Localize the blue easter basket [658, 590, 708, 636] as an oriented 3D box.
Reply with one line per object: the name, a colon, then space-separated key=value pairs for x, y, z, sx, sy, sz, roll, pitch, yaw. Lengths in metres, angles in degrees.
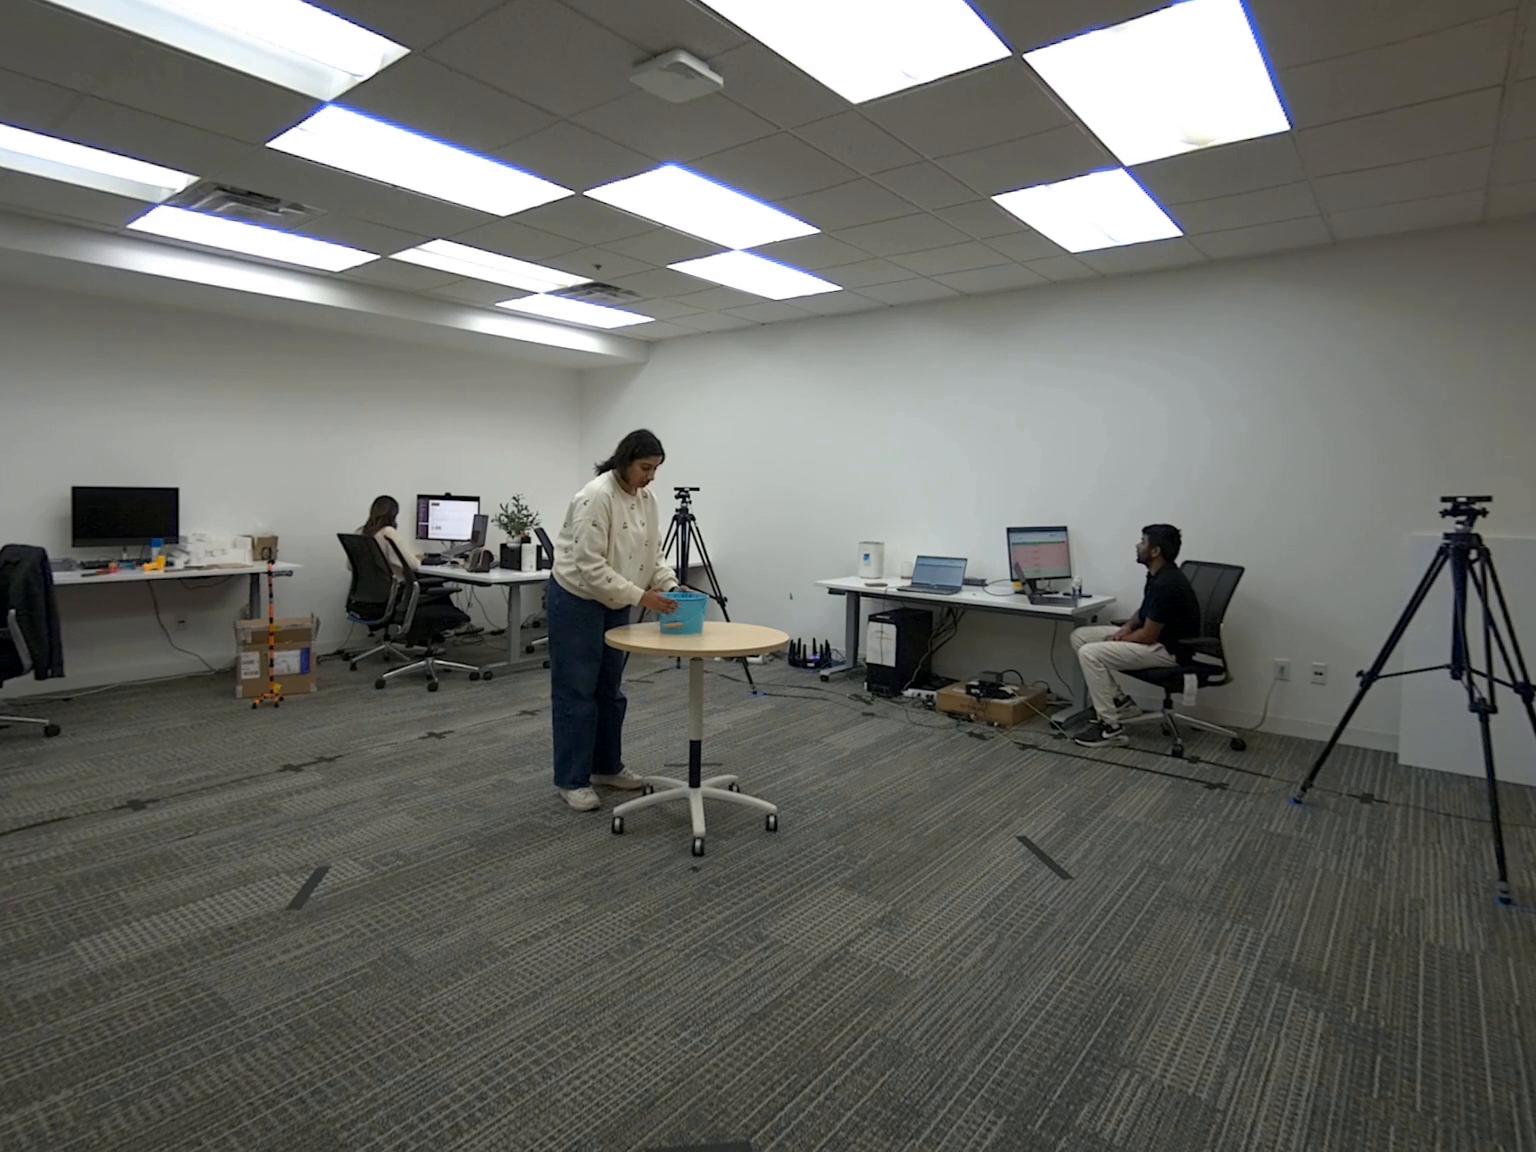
blue easter basket: x=-0.389 y=0.160 z=3.623 sx=0.243 sy=0.156 sz=0.244 roll=1 pitch=3 yaw=-2
